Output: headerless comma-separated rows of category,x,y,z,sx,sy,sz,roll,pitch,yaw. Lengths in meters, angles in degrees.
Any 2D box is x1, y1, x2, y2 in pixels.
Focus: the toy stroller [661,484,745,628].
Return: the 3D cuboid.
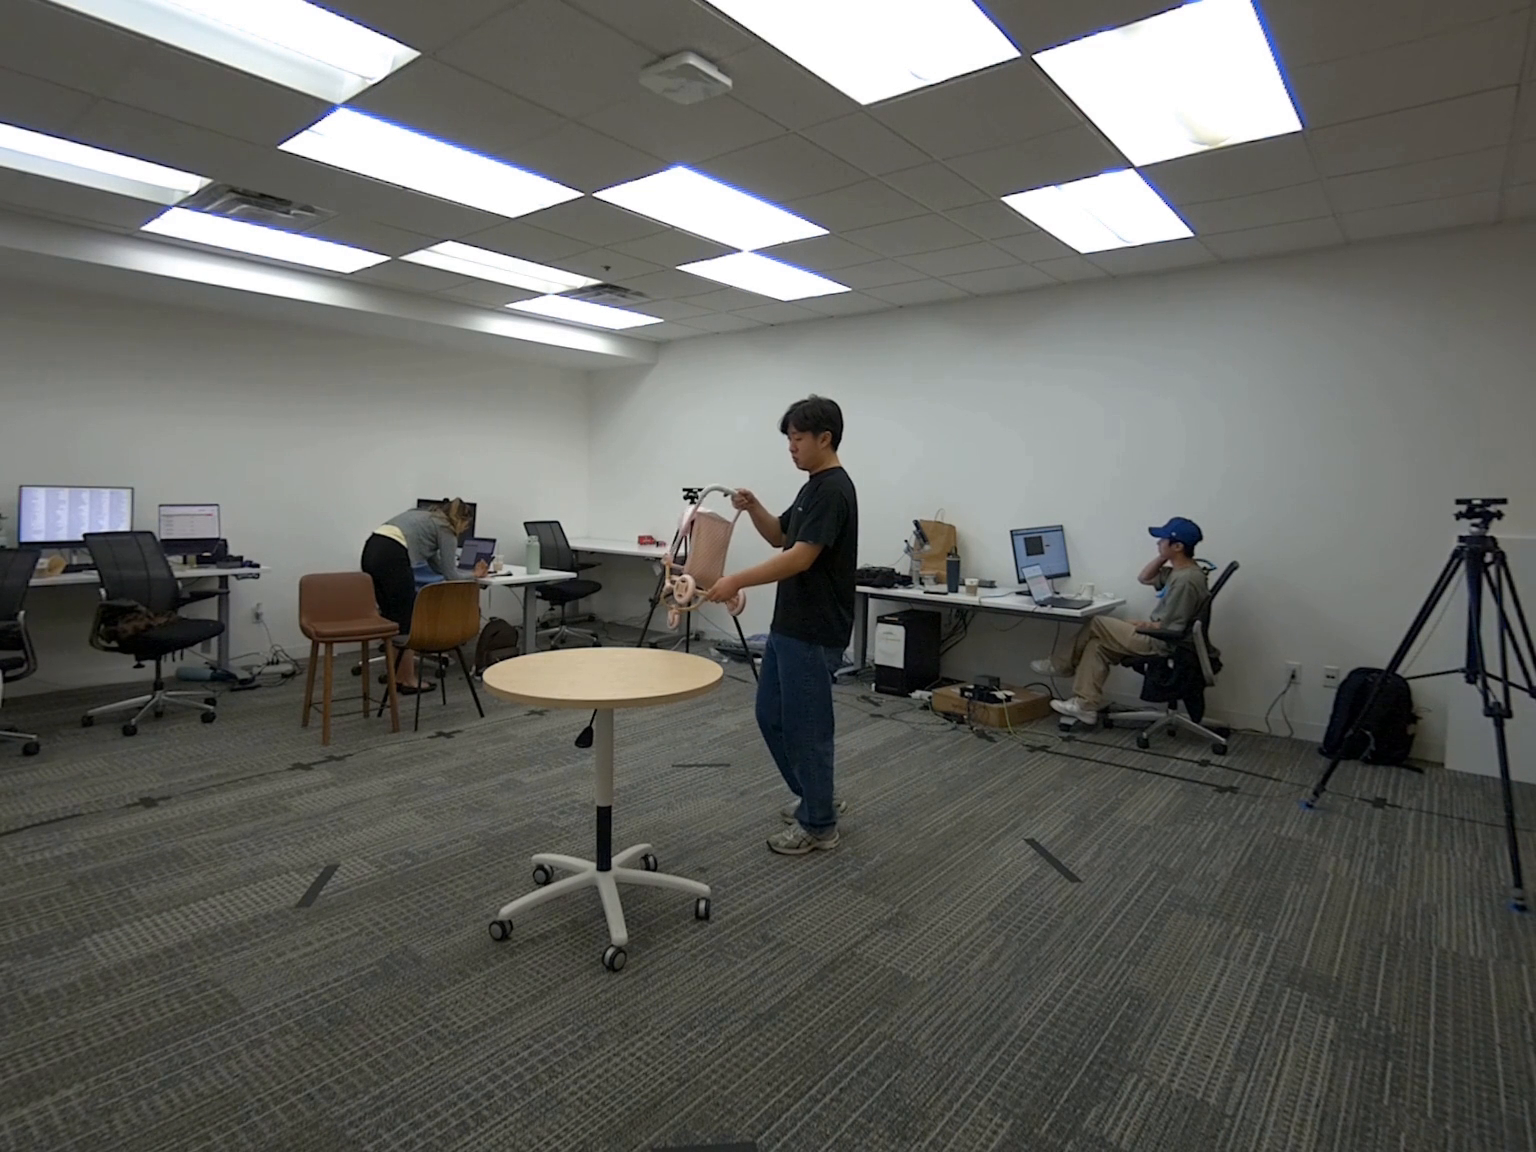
toy stroller,-0.281,-0.062,3.359,0.272,0.542,0.348,14,-18,-33
